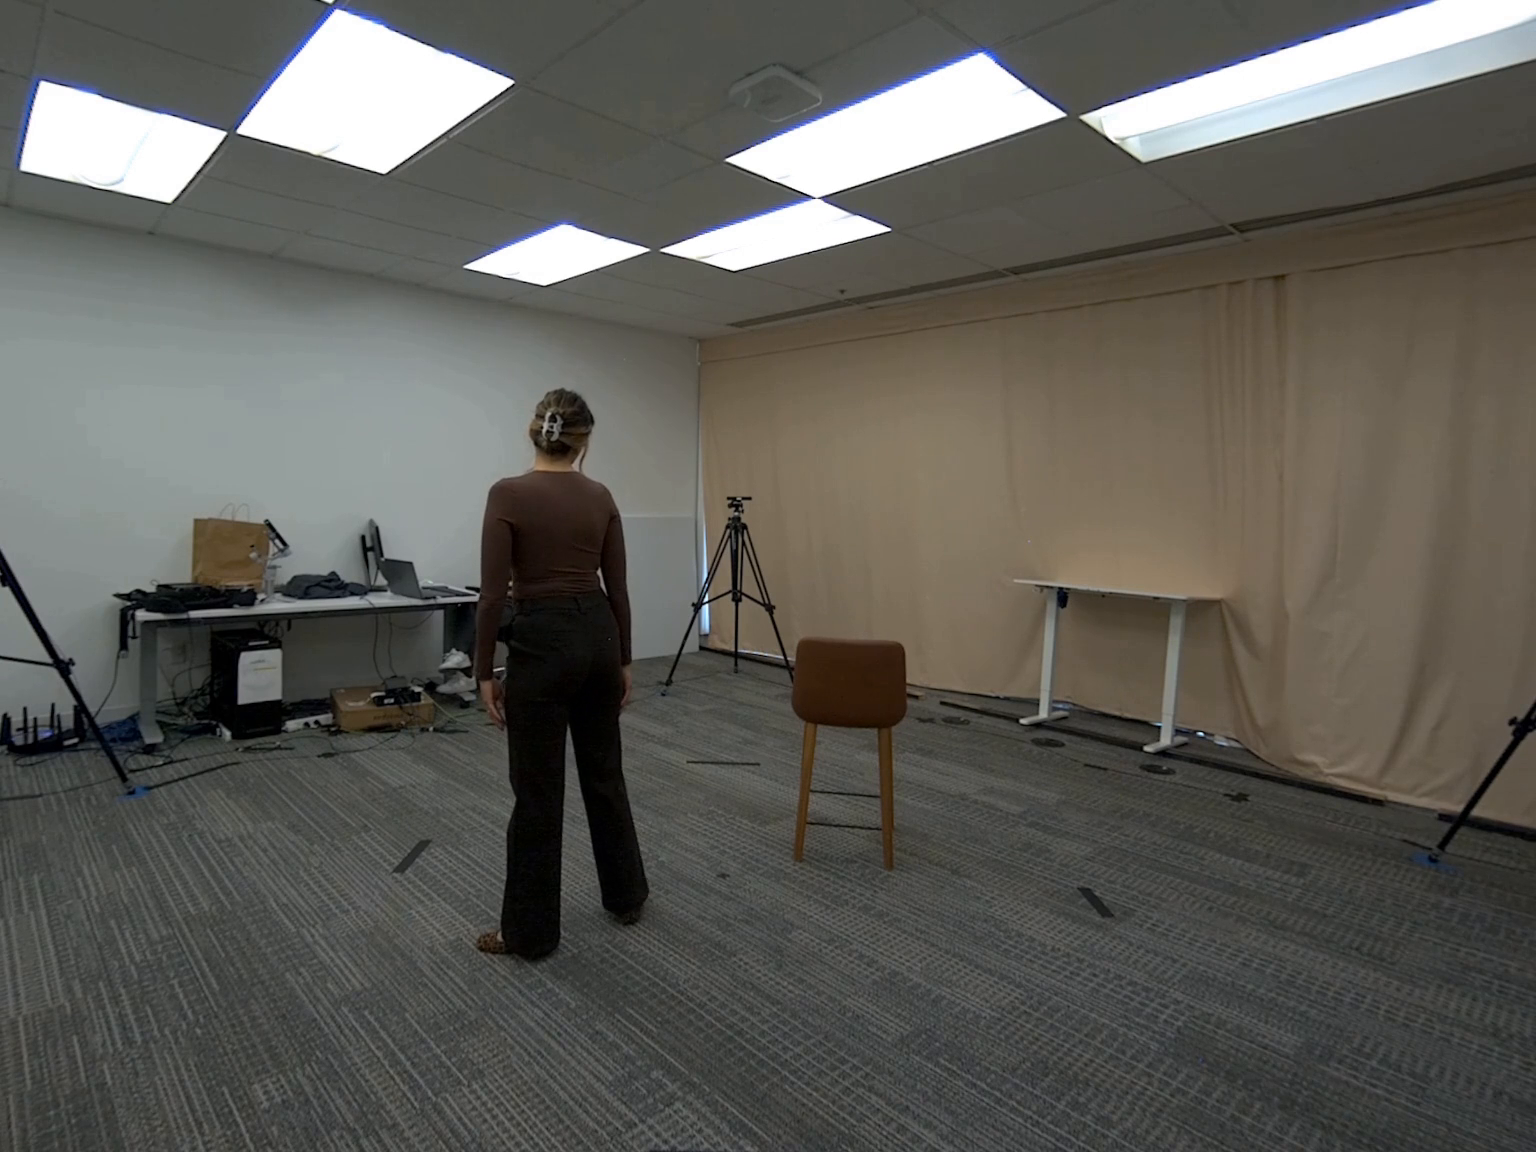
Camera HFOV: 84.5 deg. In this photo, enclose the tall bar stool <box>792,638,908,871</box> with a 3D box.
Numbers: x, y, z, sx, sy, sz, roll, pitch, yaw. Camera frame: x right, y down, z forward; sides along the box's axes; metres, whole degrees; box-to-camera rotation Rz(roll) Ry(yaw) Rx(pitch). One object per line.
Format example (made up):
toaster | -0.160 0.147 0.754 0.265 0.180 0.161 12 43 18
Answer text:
tall bar stool | 0.318 0.657 3.406 0.460 0.887 0.465 2 4 9
